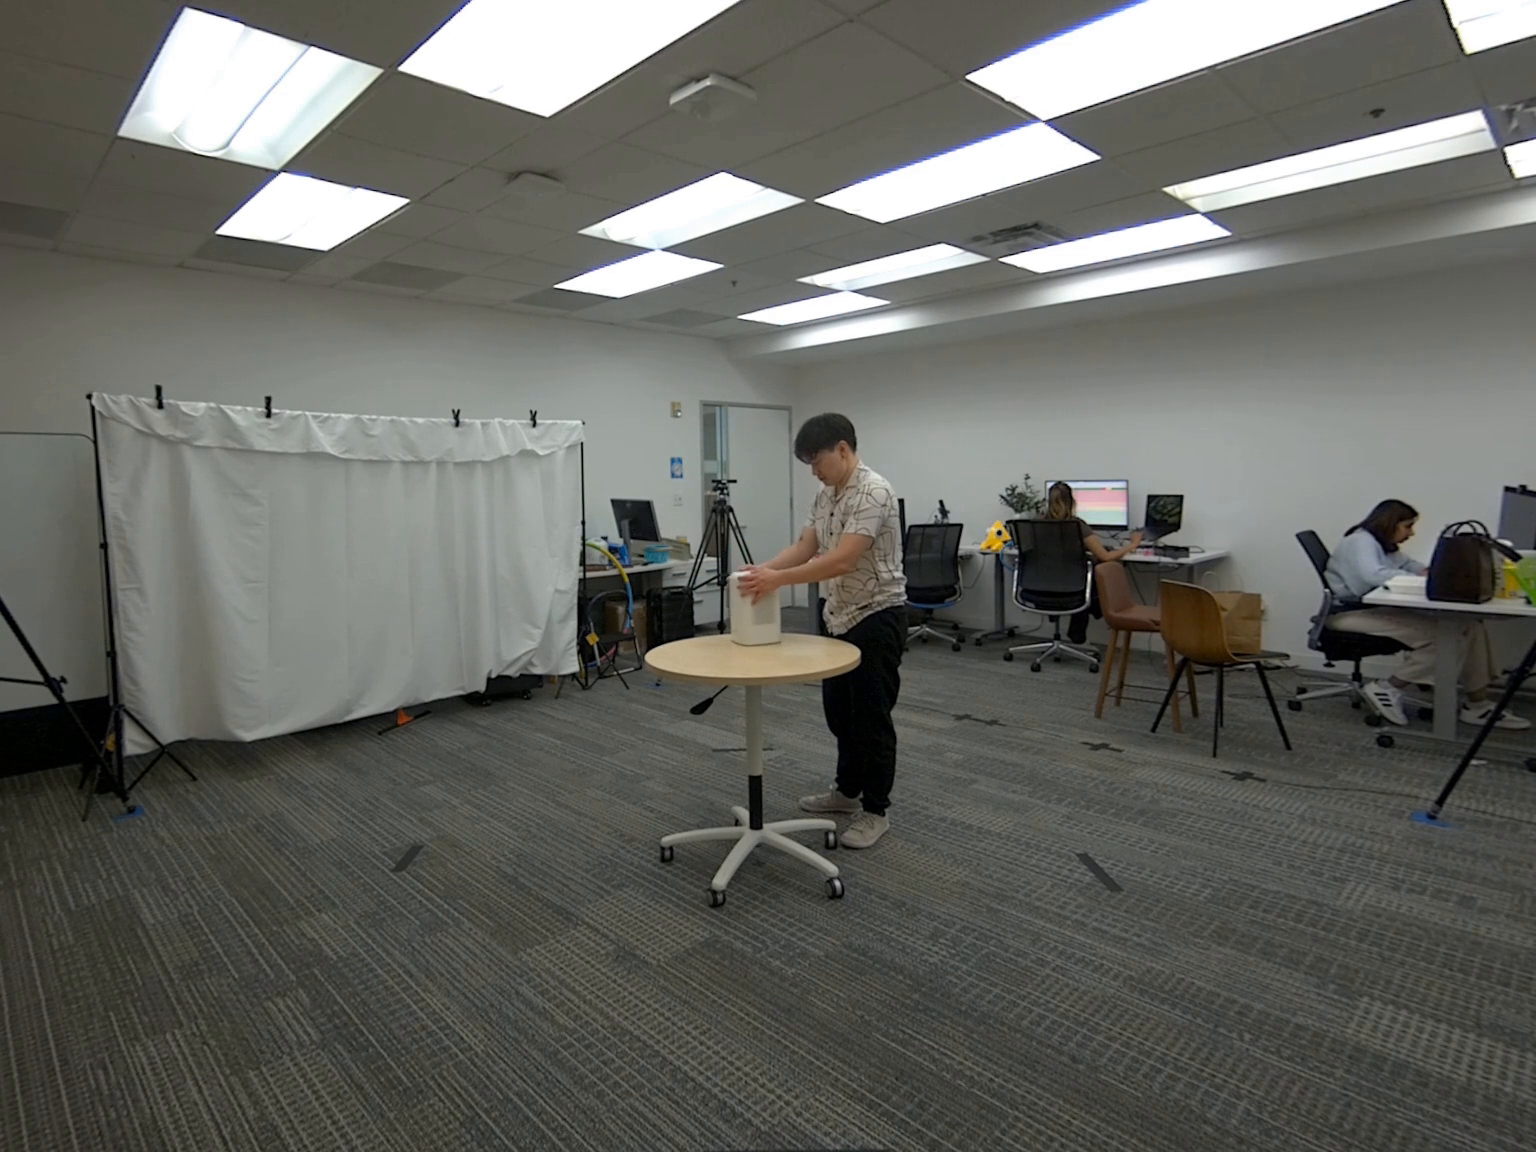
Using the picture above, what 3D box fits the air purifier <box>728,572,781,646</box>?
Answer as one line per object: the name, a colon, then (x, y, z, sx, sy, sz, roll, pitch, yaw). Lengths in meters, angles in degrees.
air purifier: (-0.050, 0.118, 3.253, 0.169, 0.265, 0.174, -2, 2, -18)
